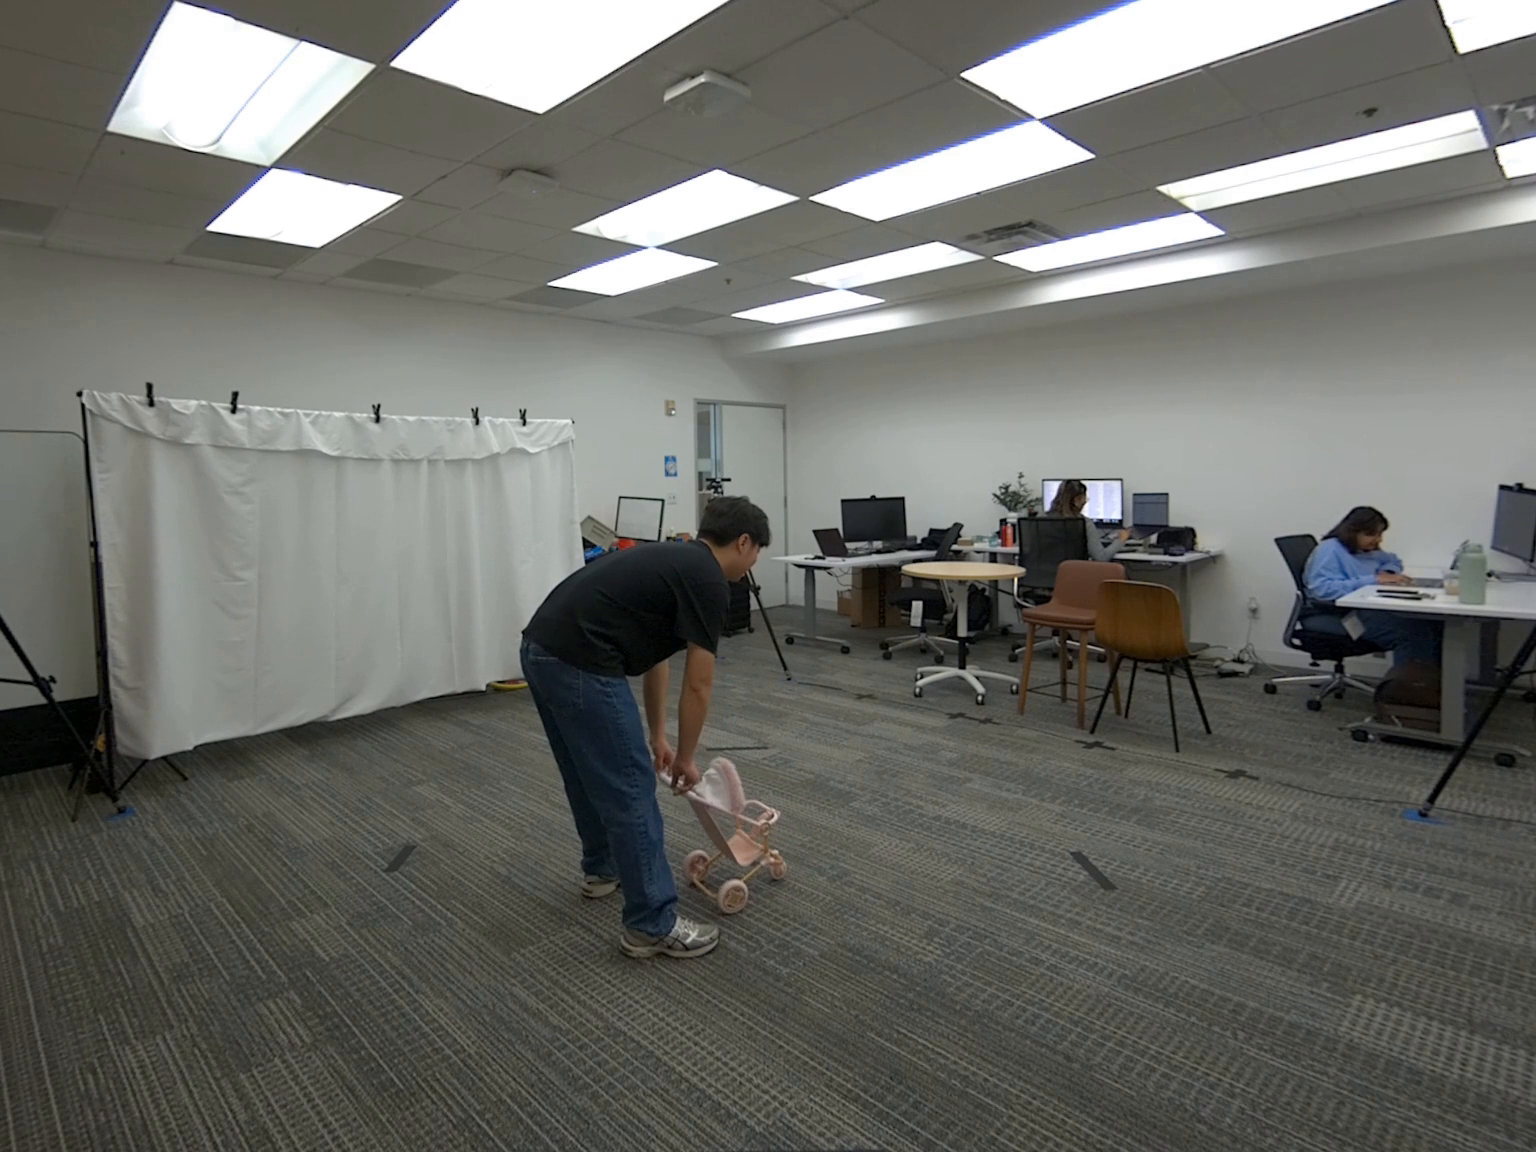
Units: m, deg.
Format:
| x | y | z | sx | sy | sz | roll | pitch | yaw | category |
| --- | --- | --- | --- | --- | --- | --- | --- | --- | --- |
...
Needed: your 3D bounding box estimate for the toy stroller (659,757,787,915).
| x | y | z | sx | sy | sz | roll | pitch | yaw | category |
| --- | --- | --- | --- | --- | --- | --- | --- | --- | --- |
| -0.125 | 0.846 | 2.874 | 0.337 | 0.528 | 0.288 | -20 | 12 | -23 | toy stroller |
